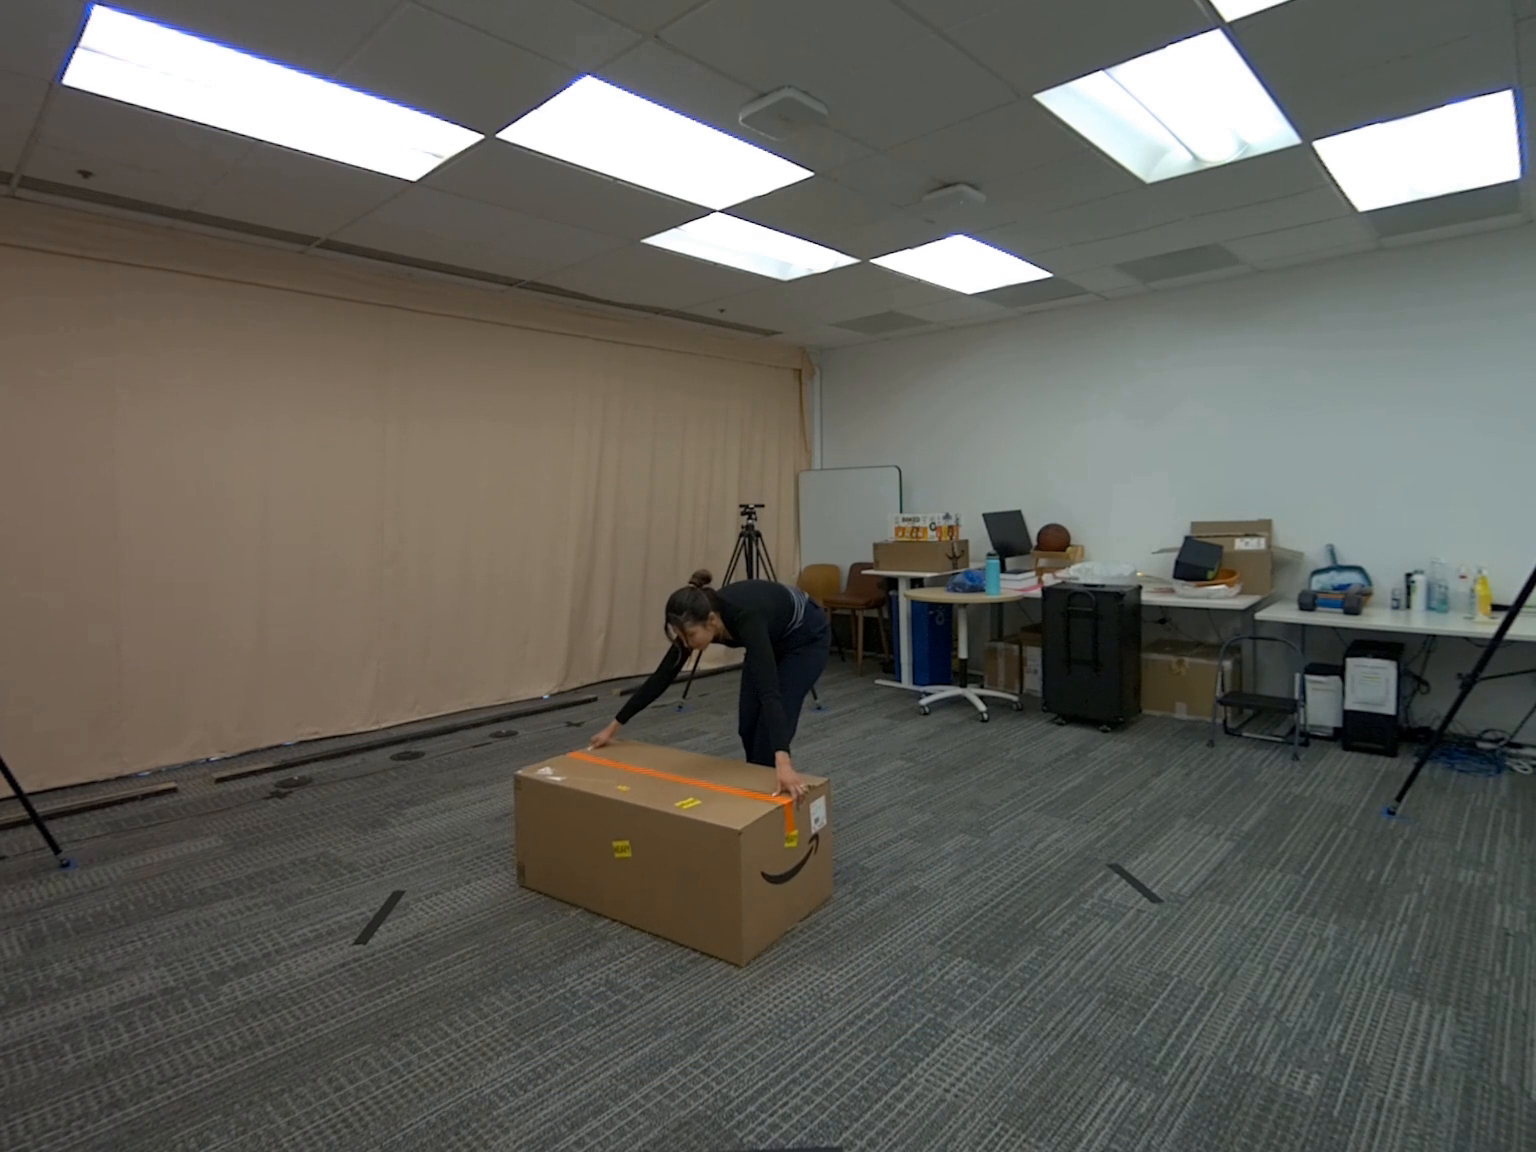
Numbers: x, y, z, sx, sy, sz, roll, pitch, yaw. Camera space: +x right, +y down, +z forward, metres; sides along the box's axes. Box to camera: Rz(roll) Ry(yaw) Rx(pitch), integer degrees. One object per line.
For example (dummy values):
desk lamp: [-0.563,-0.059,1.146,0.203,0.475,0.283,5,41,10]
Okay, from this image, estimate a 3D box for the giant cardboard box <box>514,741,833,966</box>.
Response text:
giant cardboard box: [-0.355,0.926,3.049,1.058,0.425,0.561,2,5,35]
